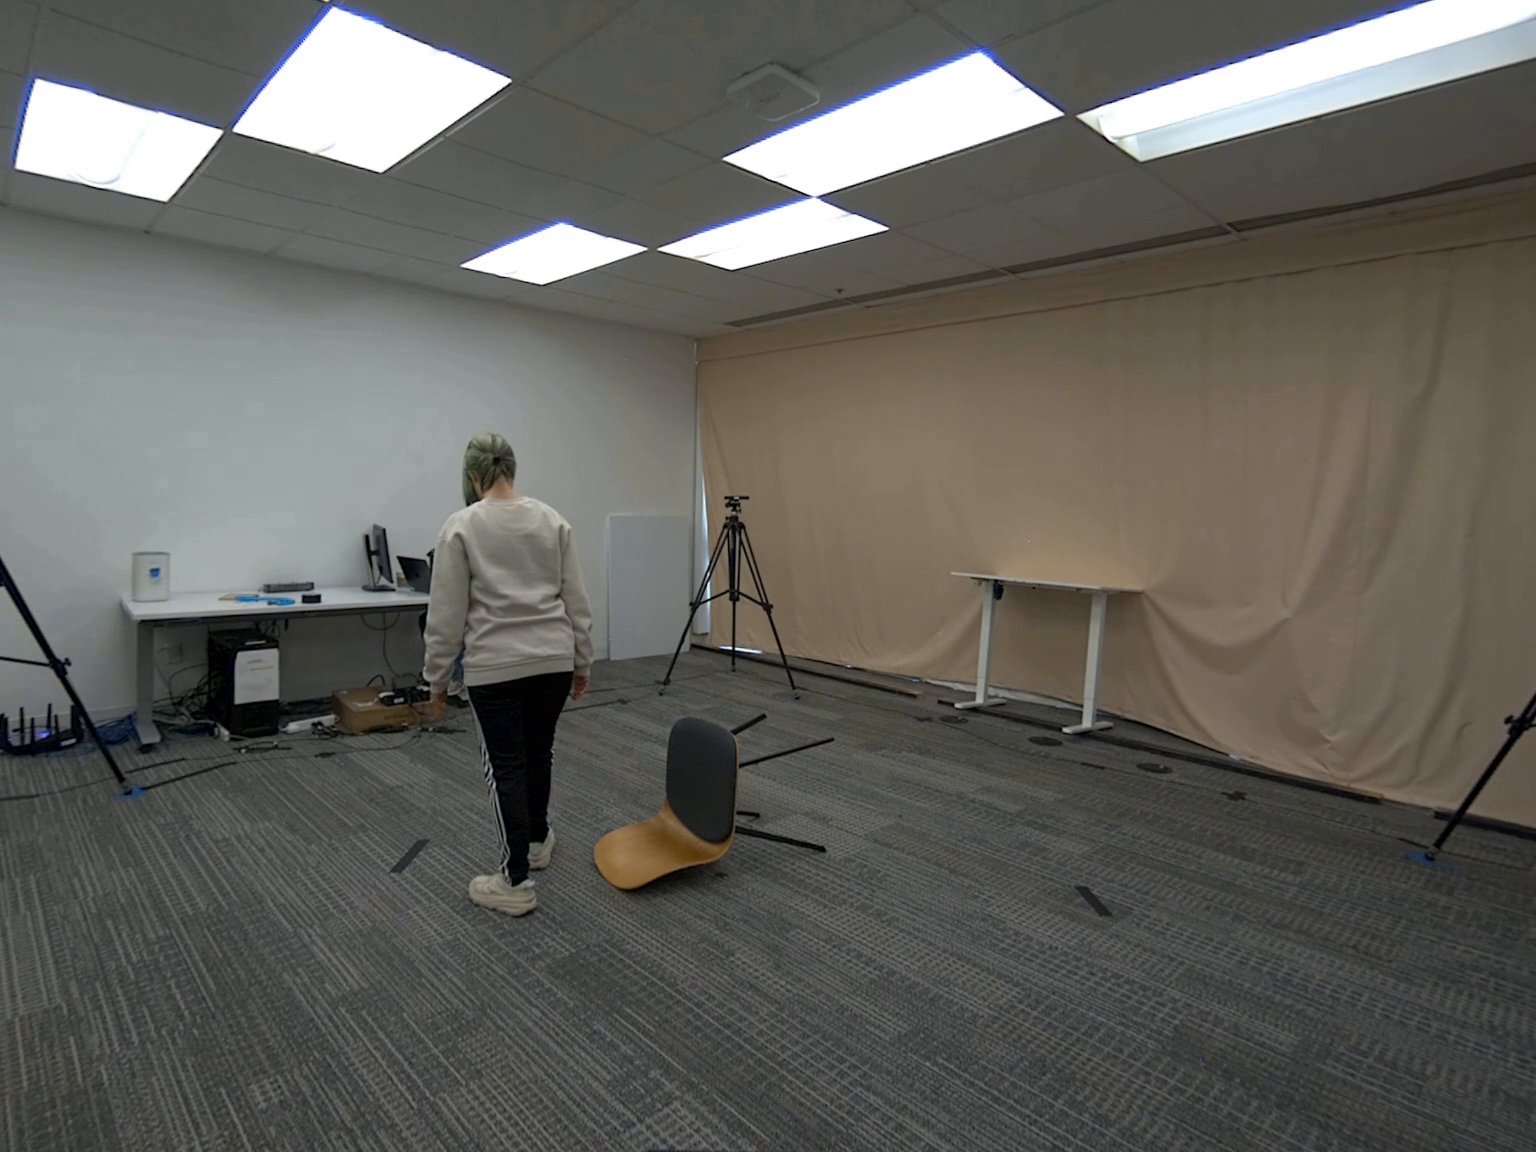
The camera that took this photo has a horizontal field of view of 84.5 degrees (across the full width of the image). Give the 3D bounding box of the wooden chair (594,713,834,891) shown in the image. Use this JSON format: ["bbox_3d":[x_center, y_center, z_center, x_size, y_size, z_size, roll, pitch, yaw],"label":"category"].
[{"bbox_3d":[-0.234,0.828,3.265,0.858,0.521,0.490,-4,6,-36],"label":"wooden chair"}]
